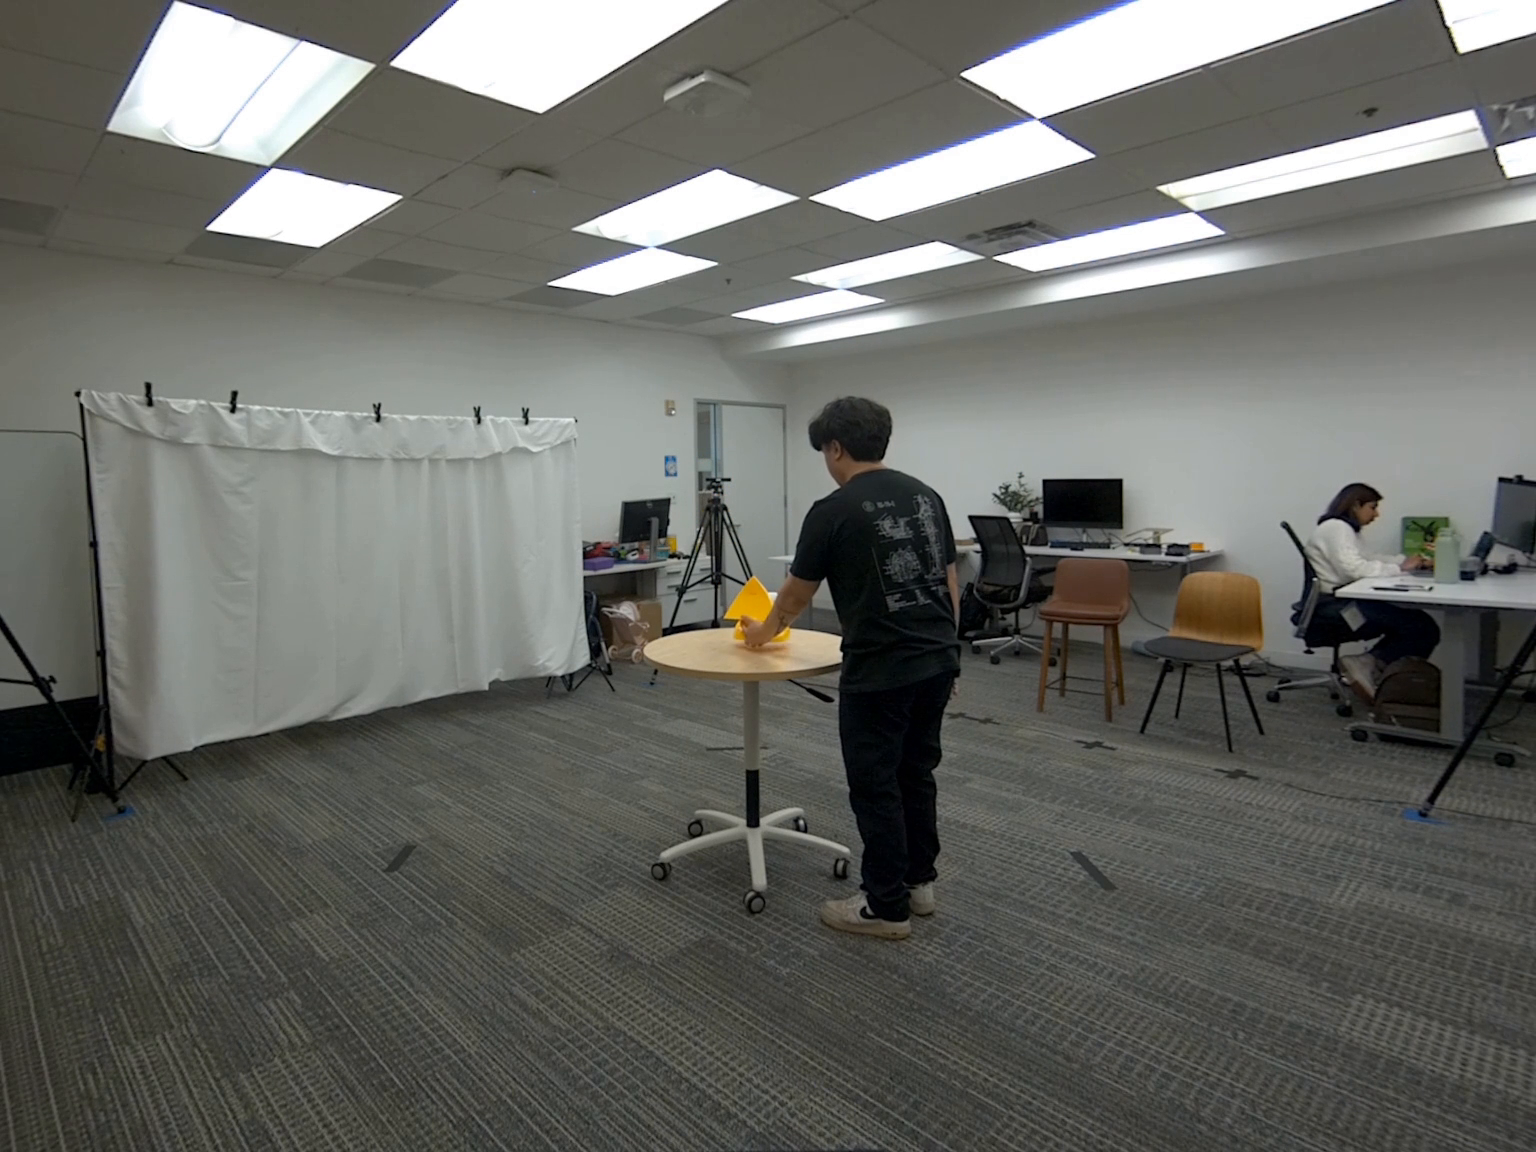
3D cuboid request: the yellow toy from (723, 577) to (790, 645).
[{"bbox_3d":[-0.023,0.106,3.042,0.210,0.230,0.189,2,5,26],"label":"yellow toy"}]
